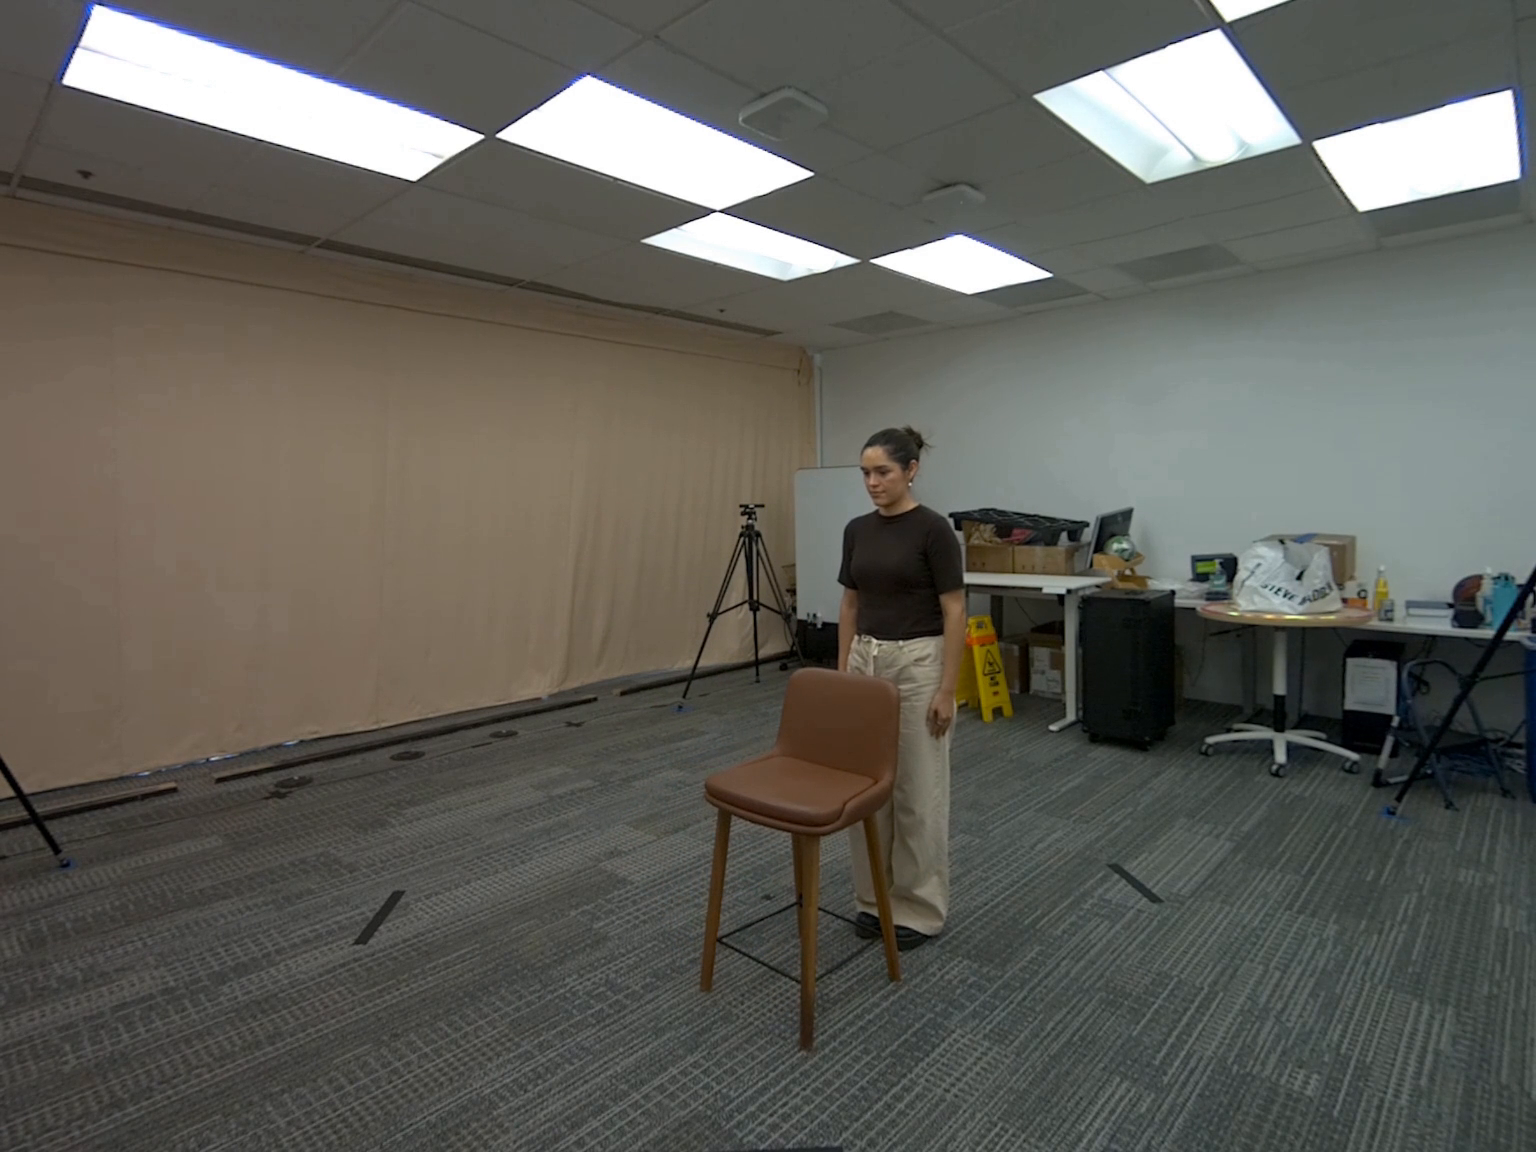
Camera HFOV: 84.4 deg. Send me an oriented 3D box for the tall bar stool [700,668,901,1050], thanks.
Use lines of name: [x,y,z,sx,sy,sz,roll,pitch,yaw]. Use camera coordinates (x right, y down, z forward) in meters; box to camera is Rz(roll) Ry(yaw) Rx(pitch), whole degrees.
tall bar stool: [0.109,0.749,2.417,0.472,0.888,0.453,4,3,44]
